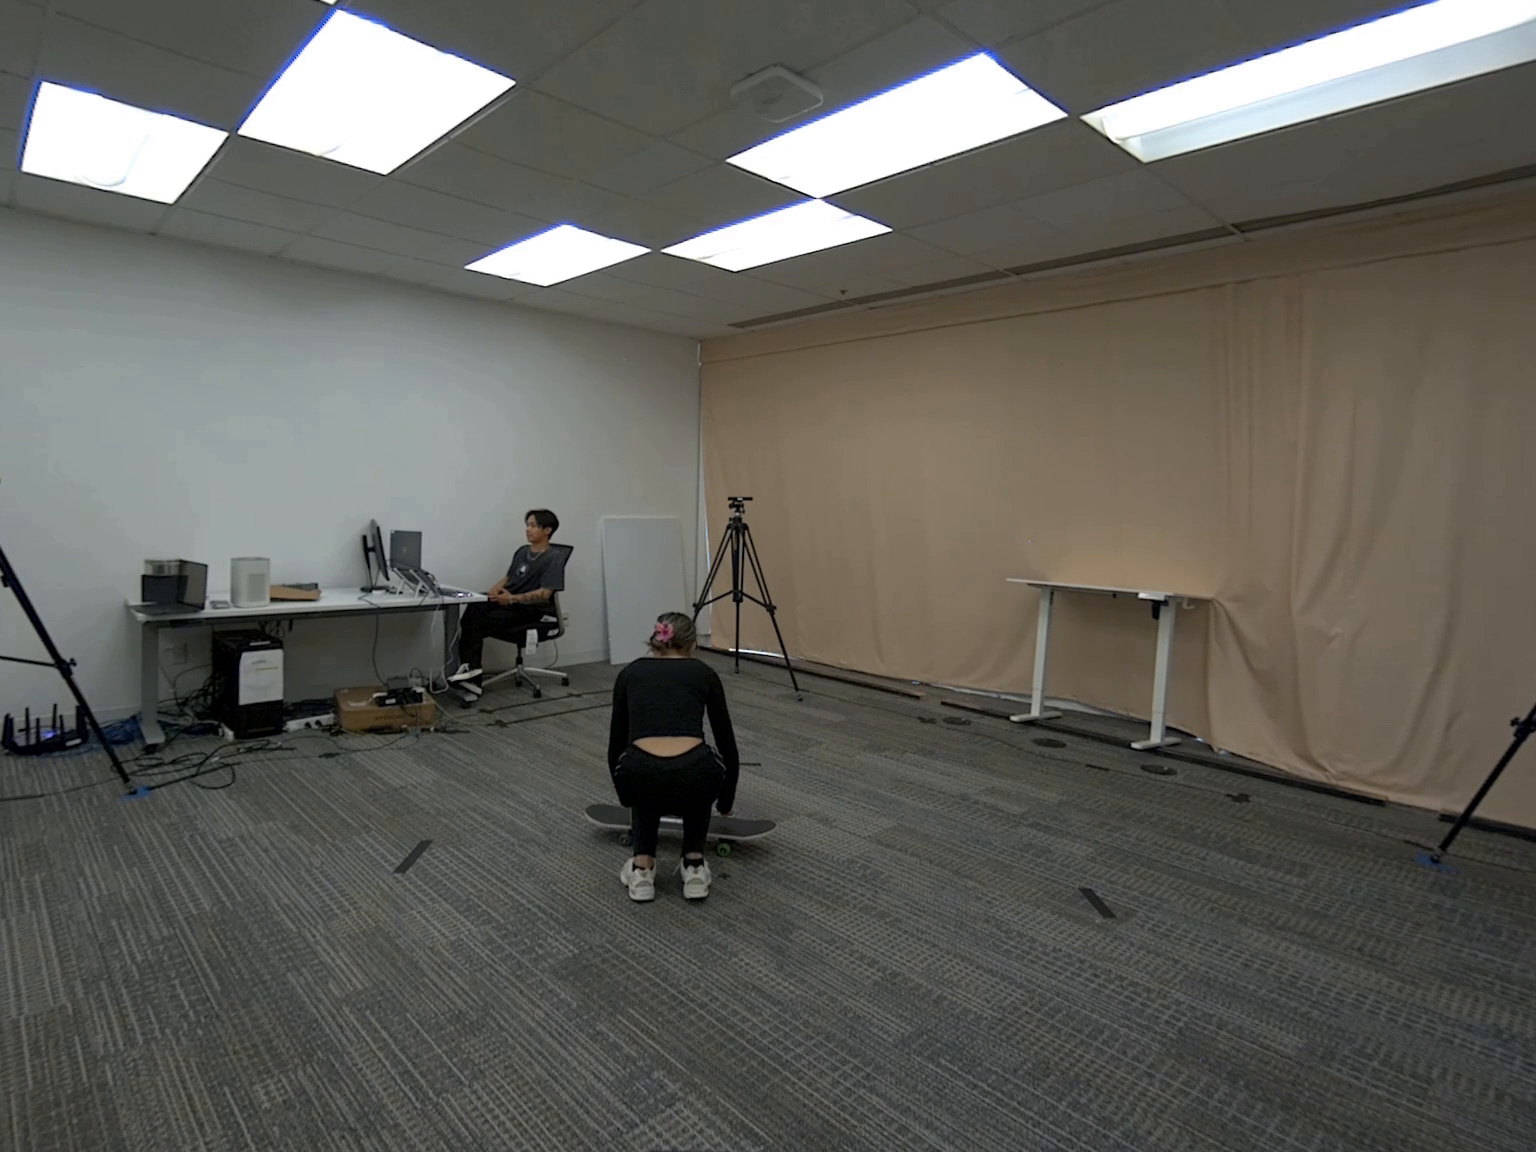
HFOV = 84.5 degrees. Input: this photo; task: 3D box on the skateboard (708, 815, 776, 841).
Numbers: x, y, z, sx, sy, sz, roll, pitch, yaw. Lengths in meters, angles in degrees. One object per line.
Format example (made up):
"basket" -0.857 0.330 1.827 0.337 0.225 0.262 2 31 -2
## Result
"skateboard" -0.357 1.010 3.383 0.793 0.110 0.192 3 4 11
